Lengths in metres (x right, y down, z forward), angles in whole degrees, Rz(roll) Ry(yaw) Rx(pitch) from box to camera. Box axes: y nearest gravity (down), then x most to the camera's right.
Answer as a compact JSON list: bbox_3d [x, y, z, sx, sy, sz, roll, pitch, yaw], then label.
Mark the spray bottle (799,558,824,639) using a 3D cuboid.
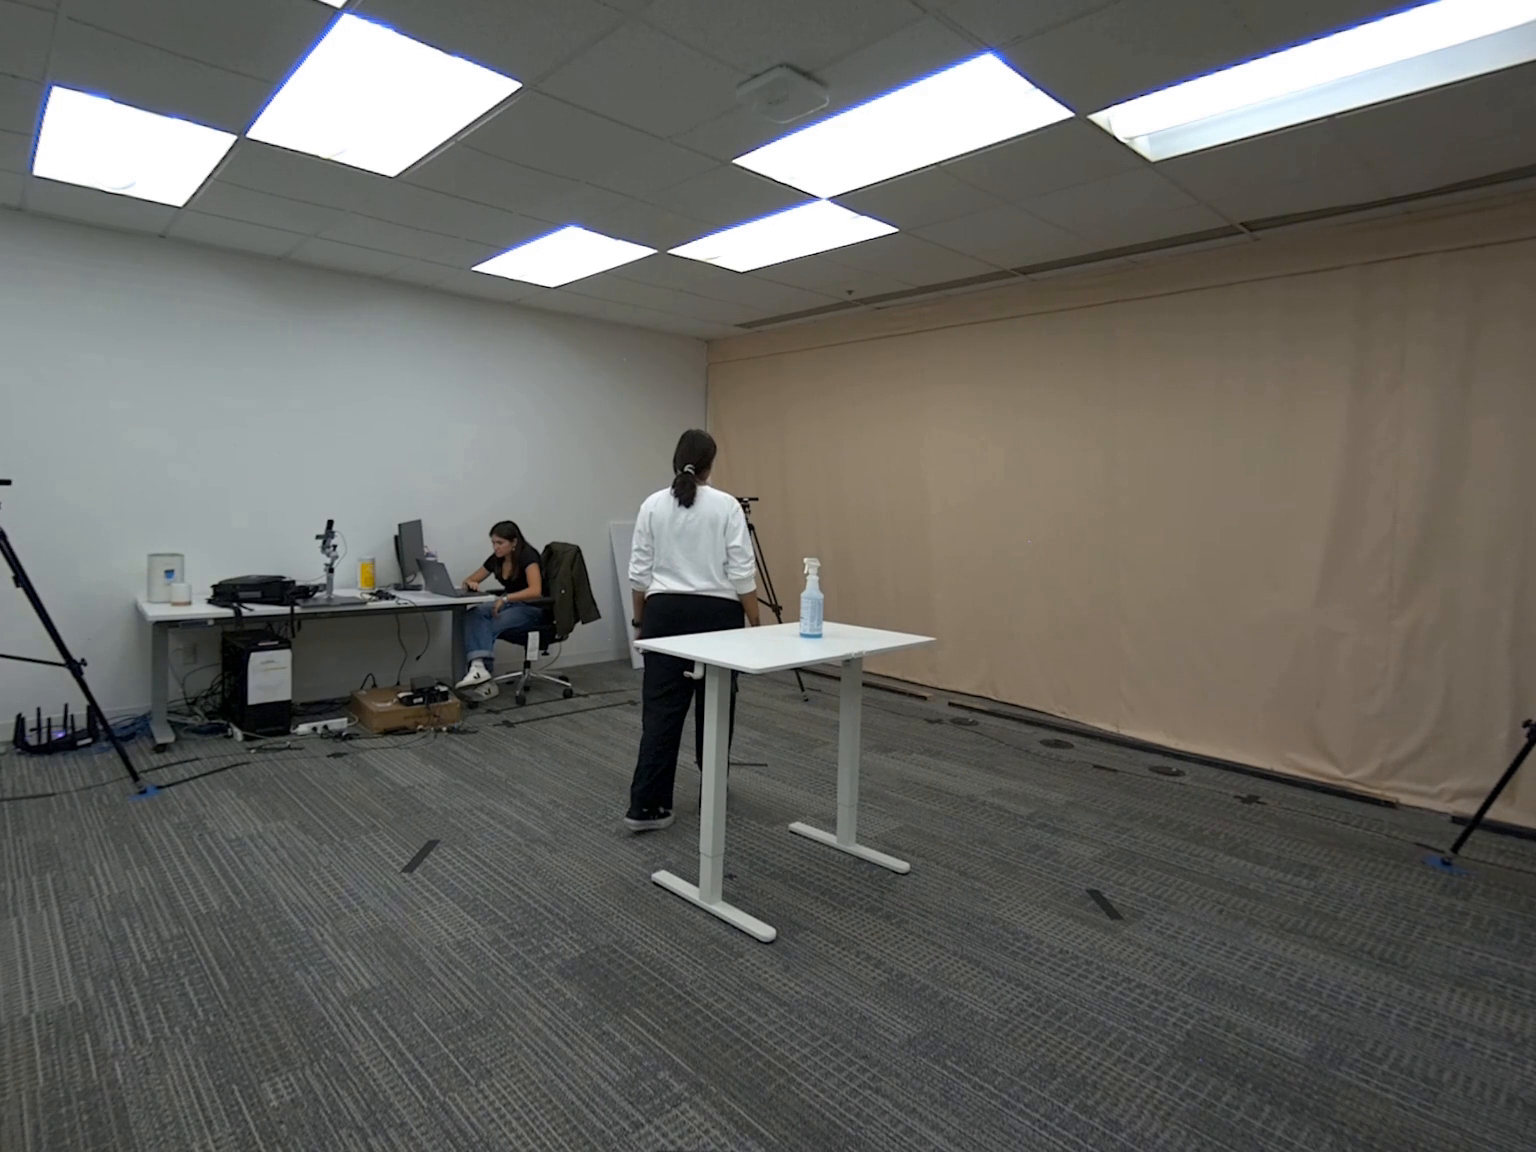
[{"bbox_3d":[0.158,0.083,3.163,0.088,0.296,0.089,-1,4,-23],"label":"spray bottle"}]
